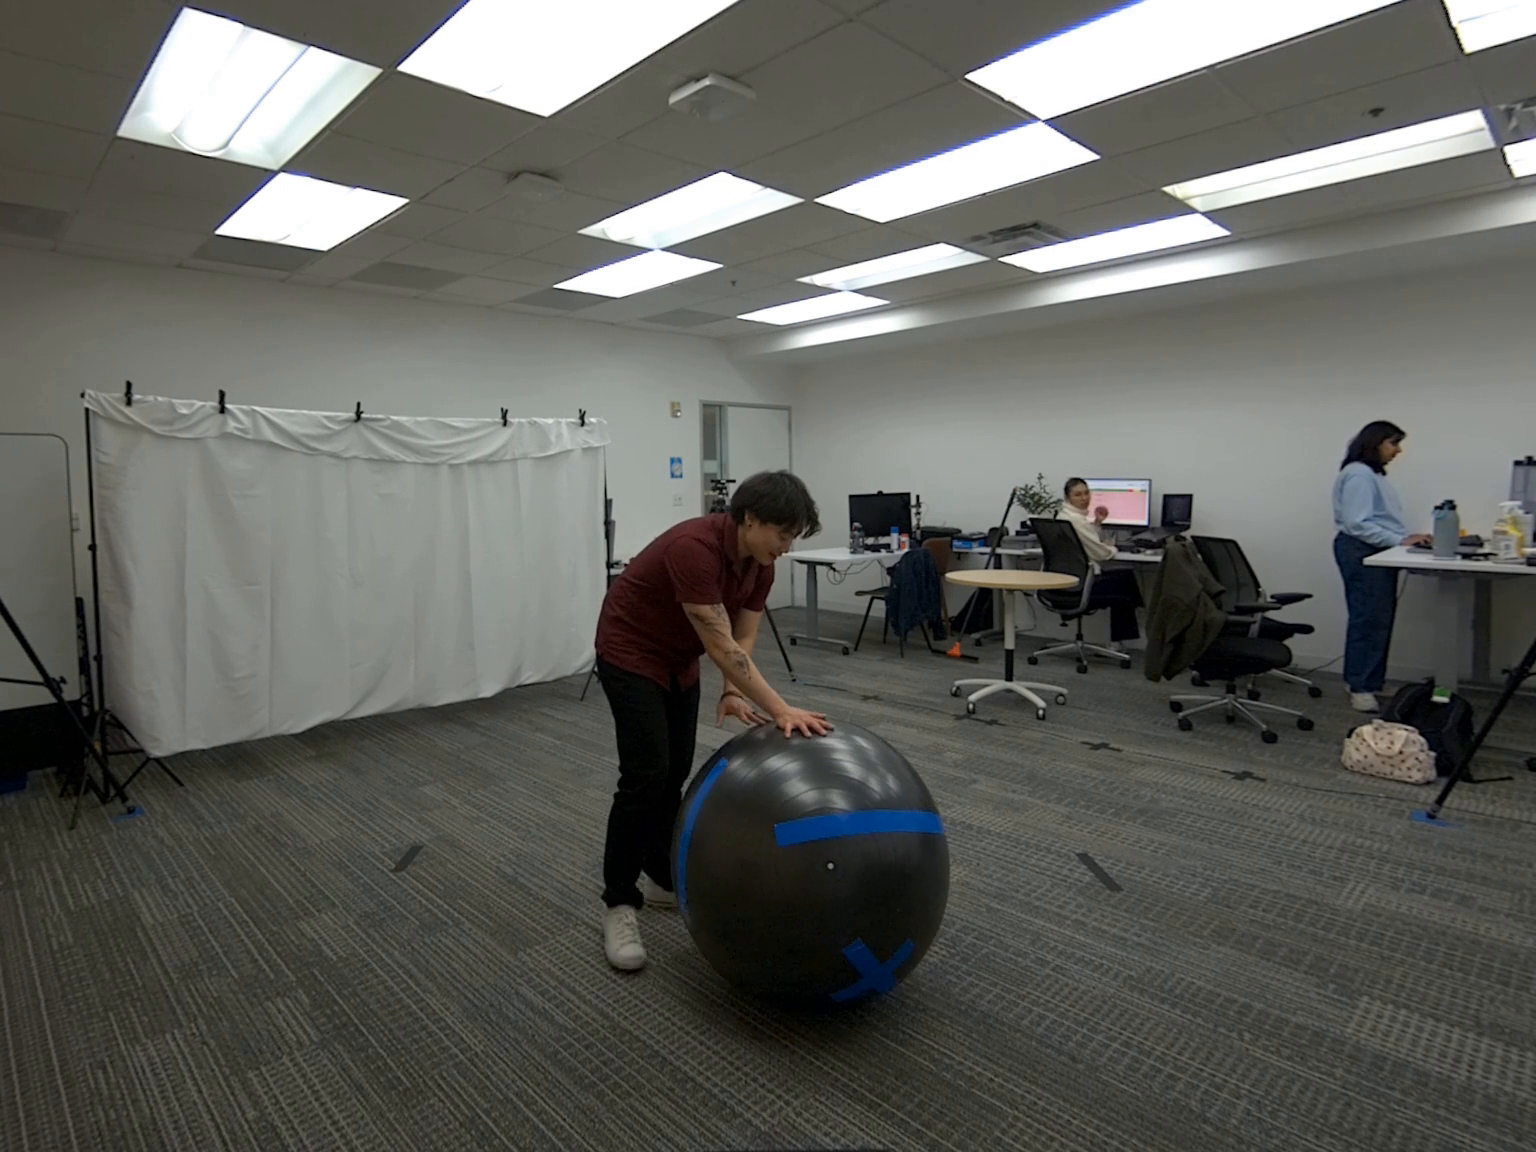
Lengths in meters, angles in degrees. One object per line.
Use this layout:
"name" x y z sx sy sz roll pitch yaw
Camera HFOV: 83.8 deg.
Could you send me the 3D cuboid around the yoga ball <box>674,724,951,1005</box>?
"yoga ball" 0.117 0.788 2.345 0.757 0.755 0.762 -1 5 -2
